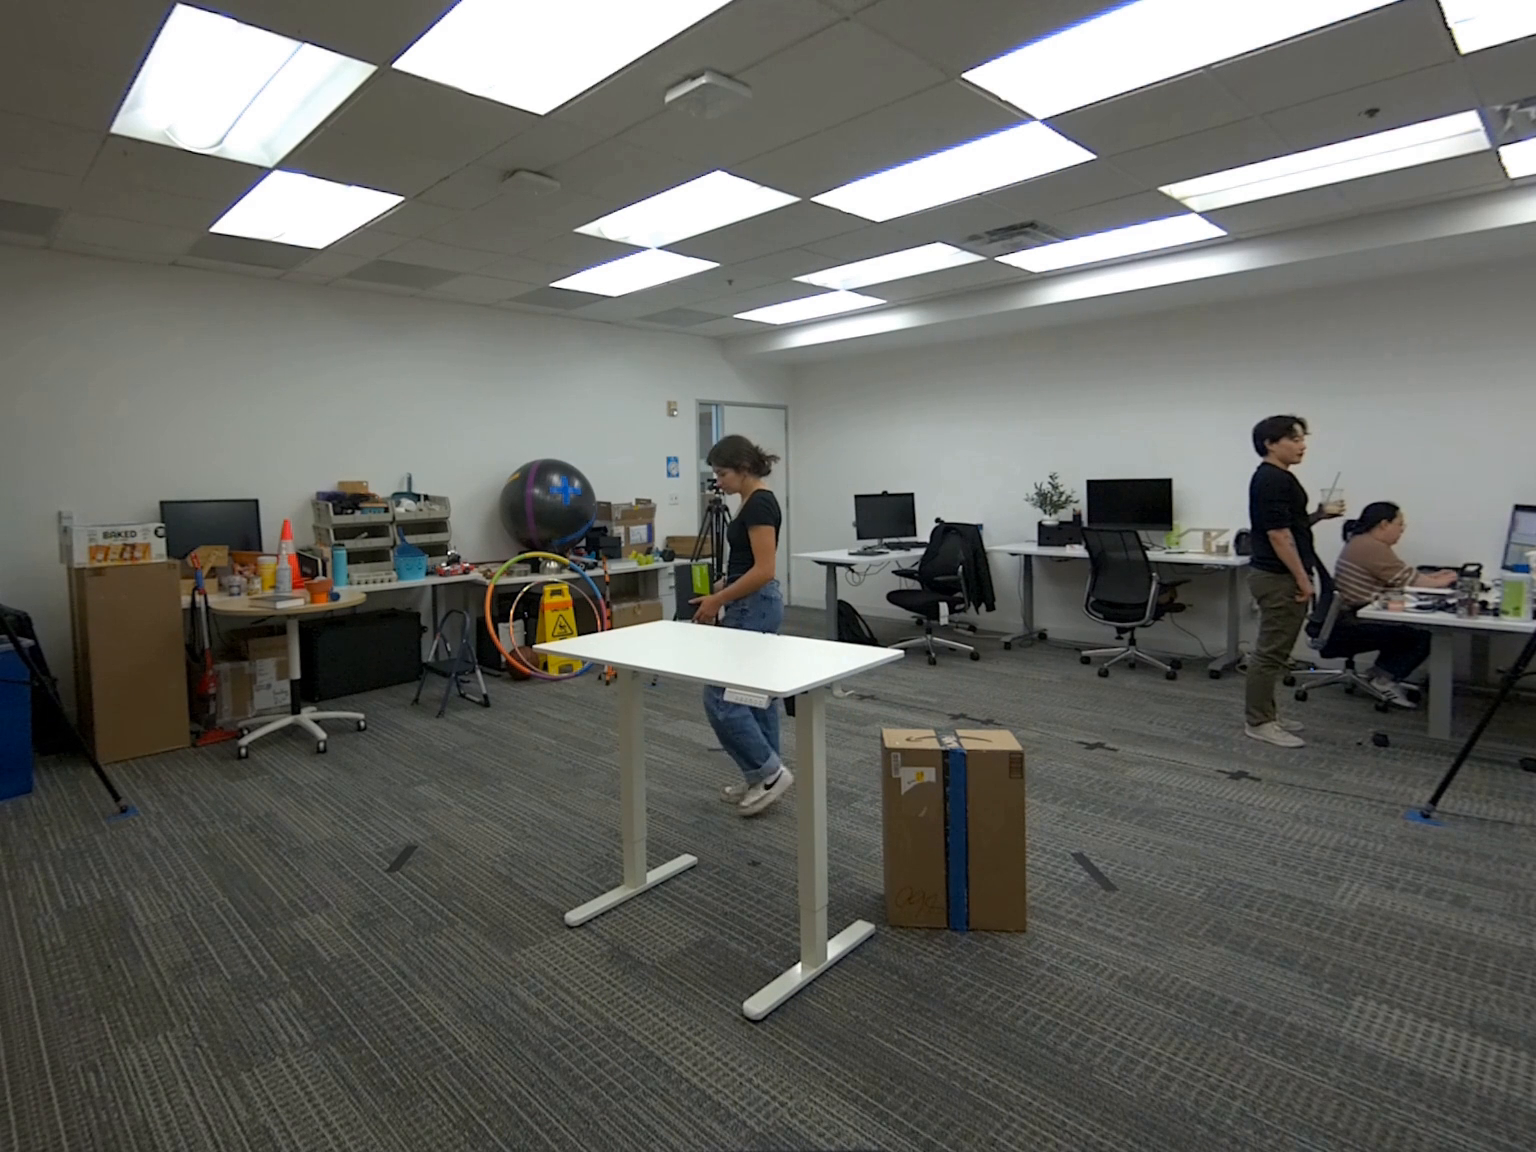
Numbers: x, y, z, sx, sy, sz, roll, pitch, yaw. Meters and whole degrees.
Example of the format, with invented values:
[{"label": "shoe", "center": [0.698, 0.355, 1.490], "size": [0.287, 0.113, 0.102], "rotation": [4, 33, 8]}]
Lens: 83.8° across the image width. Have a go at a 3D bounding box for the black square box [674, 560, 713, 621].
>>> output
[{"label": "black square box", "center": [-0.300, 0.056, 3.618], "size": [0.156, 0.227, 0.217], "rotation": [-3, 2, -1]}]
